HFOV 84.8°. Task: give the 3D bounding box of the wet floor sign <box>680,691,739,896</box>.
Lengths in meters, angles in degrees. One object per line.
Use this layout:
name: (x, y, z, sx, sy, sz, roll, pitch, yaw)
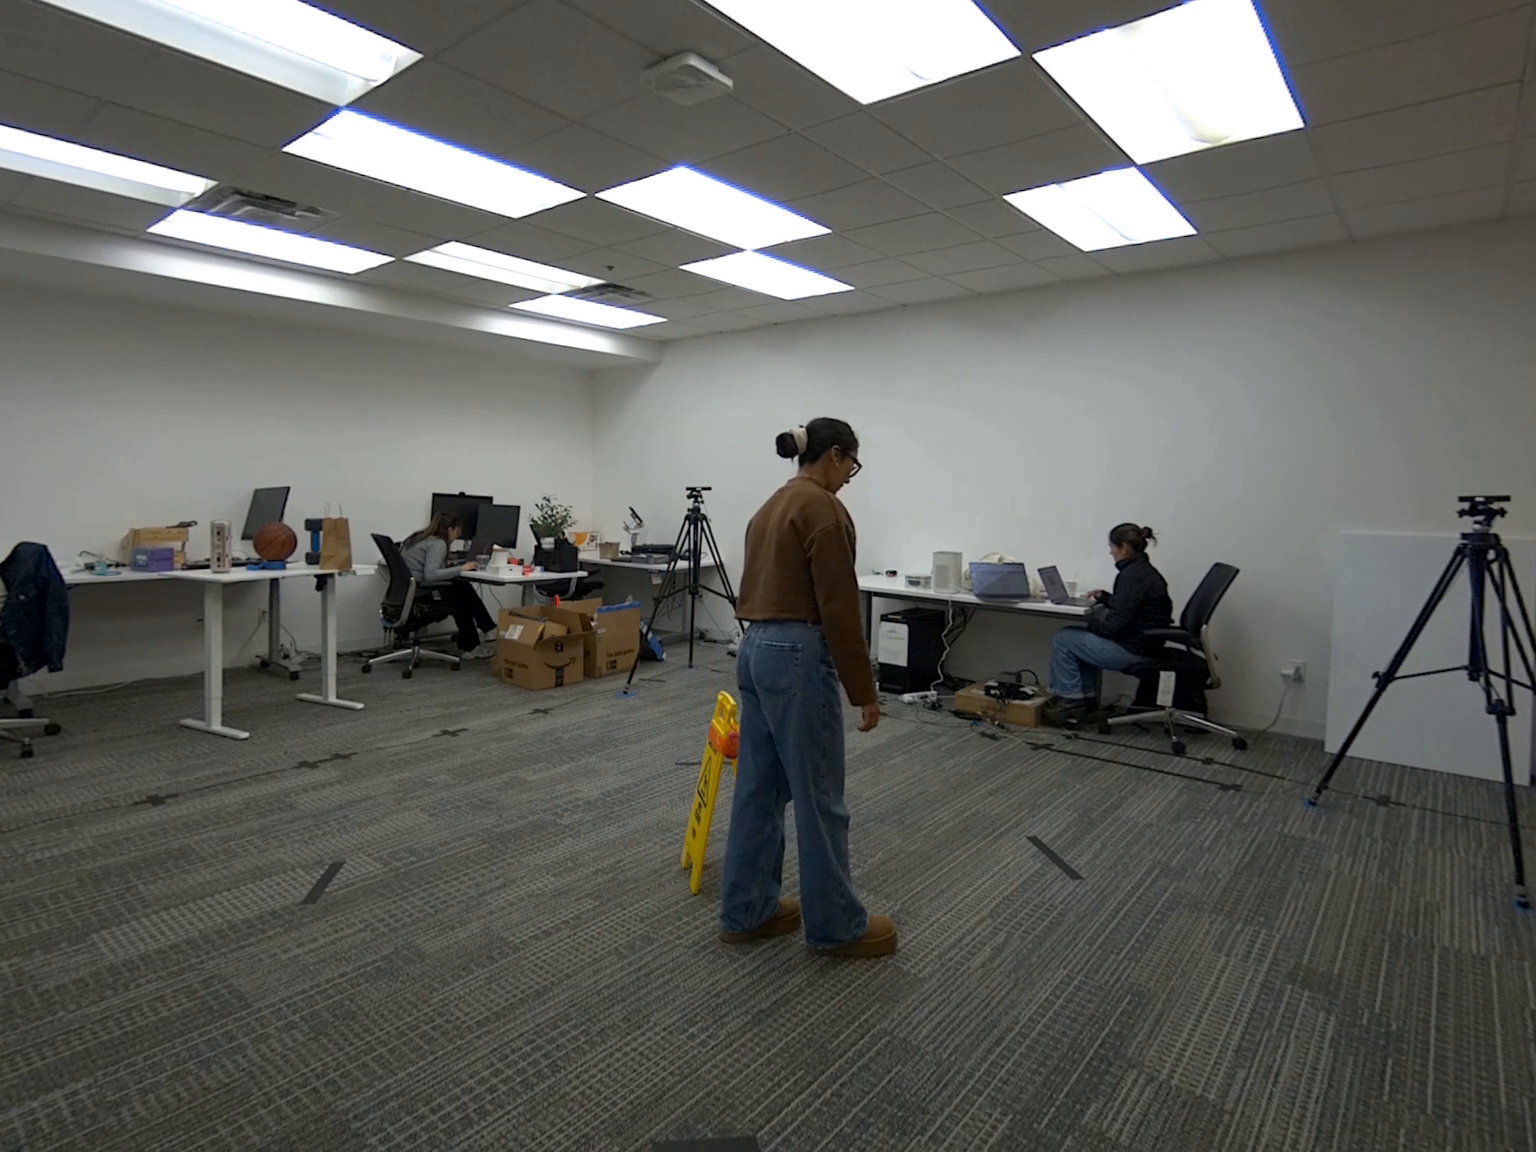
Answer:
wet floor sign: (-0.158, 0.749, 3.046, 0.286, 0.644, 0.287, 1, 4, -14)
